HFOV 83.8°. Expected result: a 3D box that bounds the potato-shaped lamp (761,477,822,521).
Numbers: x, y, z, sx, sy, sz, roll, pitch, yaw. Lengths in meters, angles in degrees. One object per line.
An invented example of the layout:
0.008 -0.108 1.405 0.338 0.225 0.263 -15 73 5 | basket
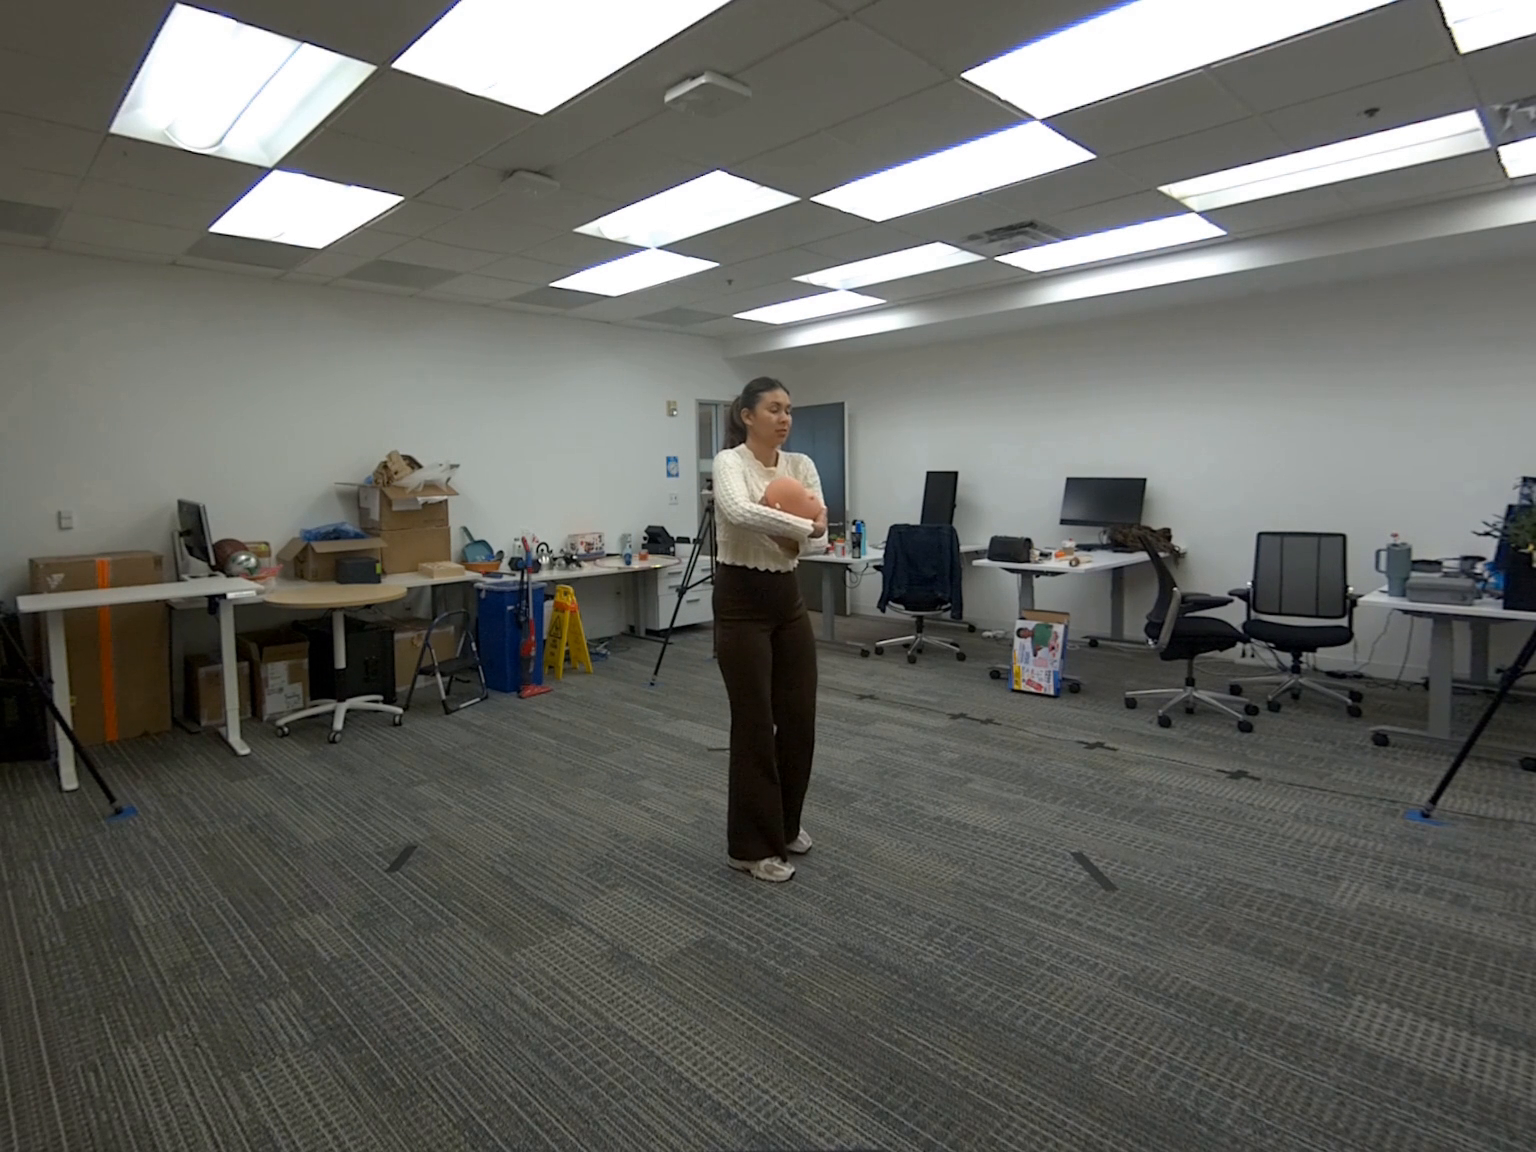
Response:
0.076 -0.217 2.712 0.171 0.191 0.170 -45 35 -21 | potato-shaped lamp
